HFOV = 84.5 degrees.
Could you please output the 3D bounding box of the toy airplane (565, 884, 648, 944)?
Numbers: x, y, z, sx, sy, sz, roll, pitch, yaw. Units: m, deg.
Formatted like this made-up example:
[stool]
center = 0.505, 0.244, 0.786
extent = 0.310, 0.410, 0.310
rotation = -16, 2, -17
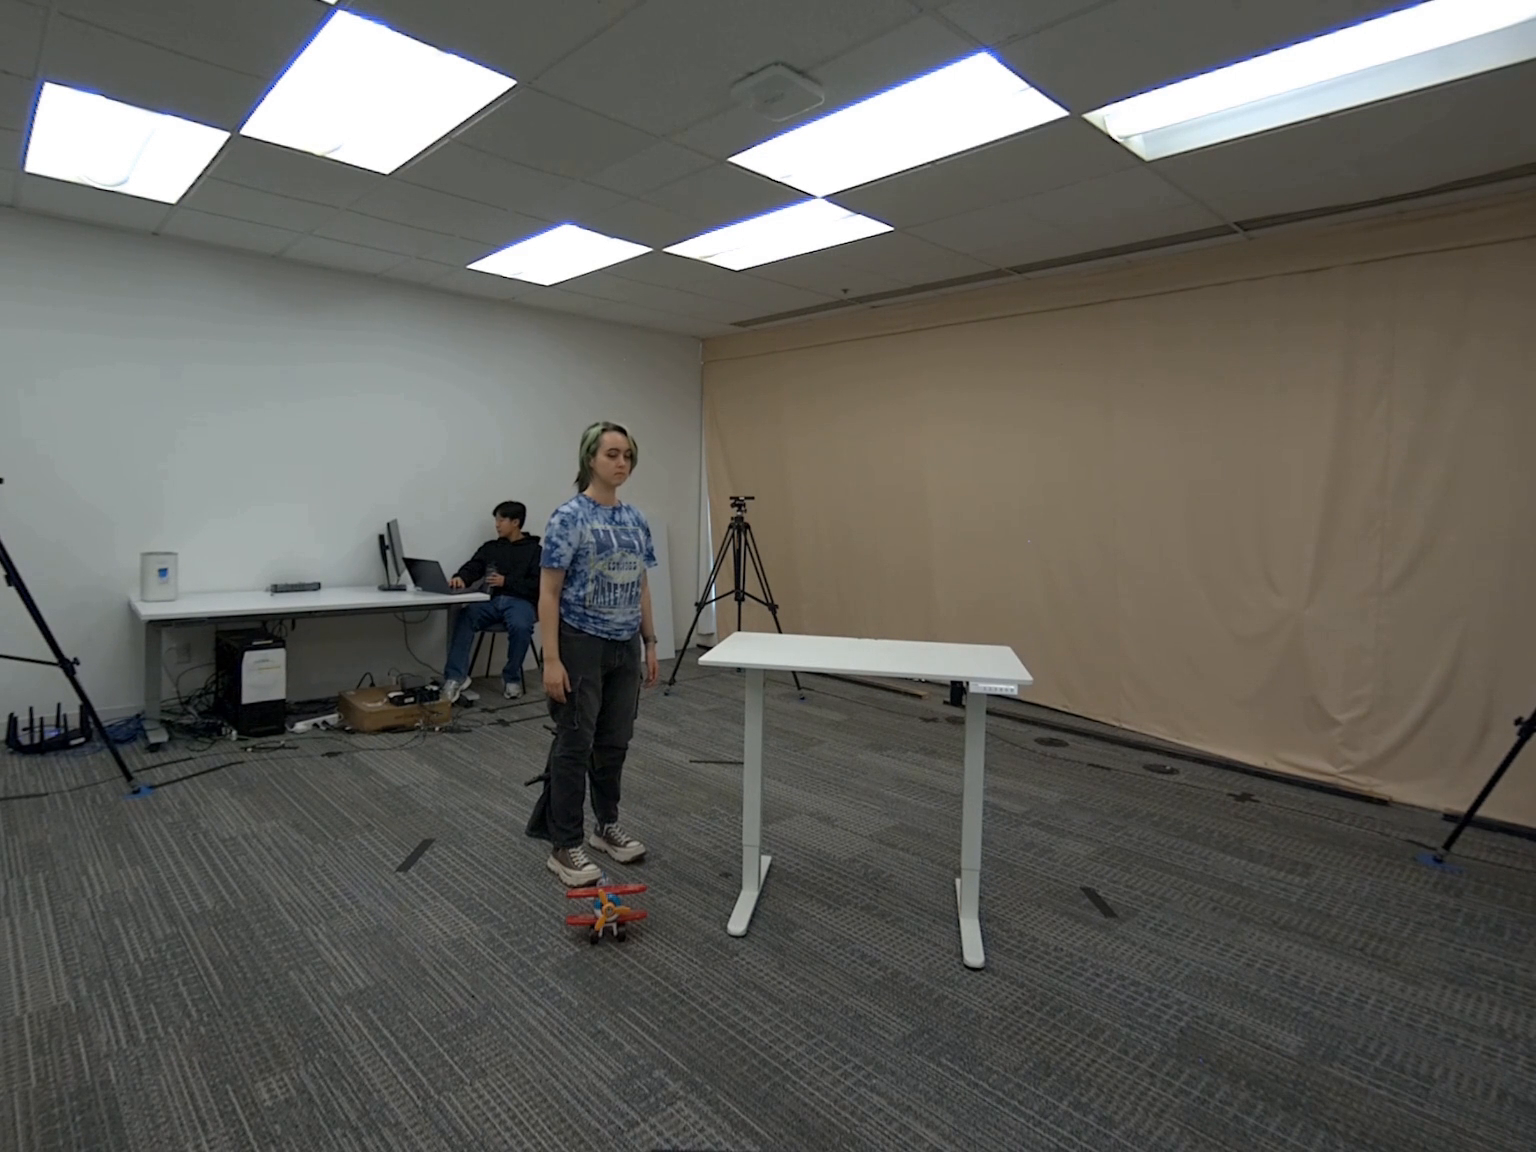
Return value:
[toy airplane]
center = -0.546, 1.063, 2.693
extent = 0.245, 0.156, 0.266
rotation = -3, 6, -41
